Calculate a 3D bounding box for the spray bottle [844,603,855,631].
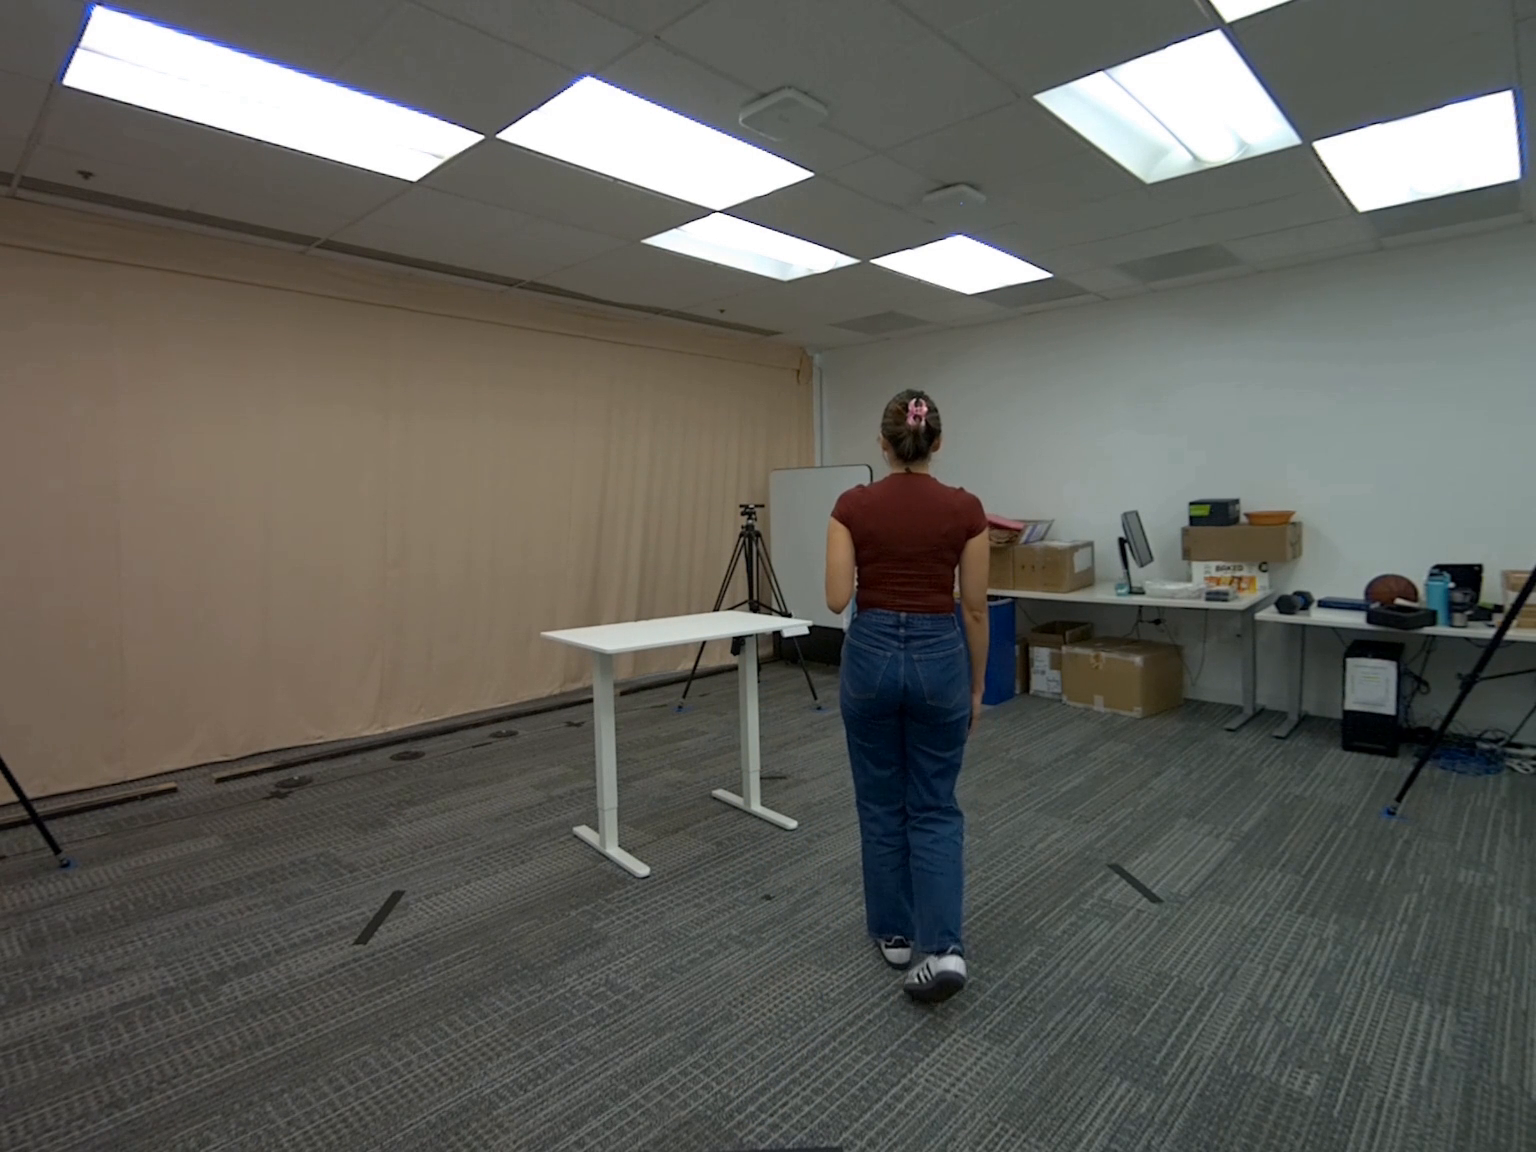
[{"bbox_3d":[0.328,0.041,2.733,0.089,0.297,0.088,2,3,23],"label":"spray bottle"}]
